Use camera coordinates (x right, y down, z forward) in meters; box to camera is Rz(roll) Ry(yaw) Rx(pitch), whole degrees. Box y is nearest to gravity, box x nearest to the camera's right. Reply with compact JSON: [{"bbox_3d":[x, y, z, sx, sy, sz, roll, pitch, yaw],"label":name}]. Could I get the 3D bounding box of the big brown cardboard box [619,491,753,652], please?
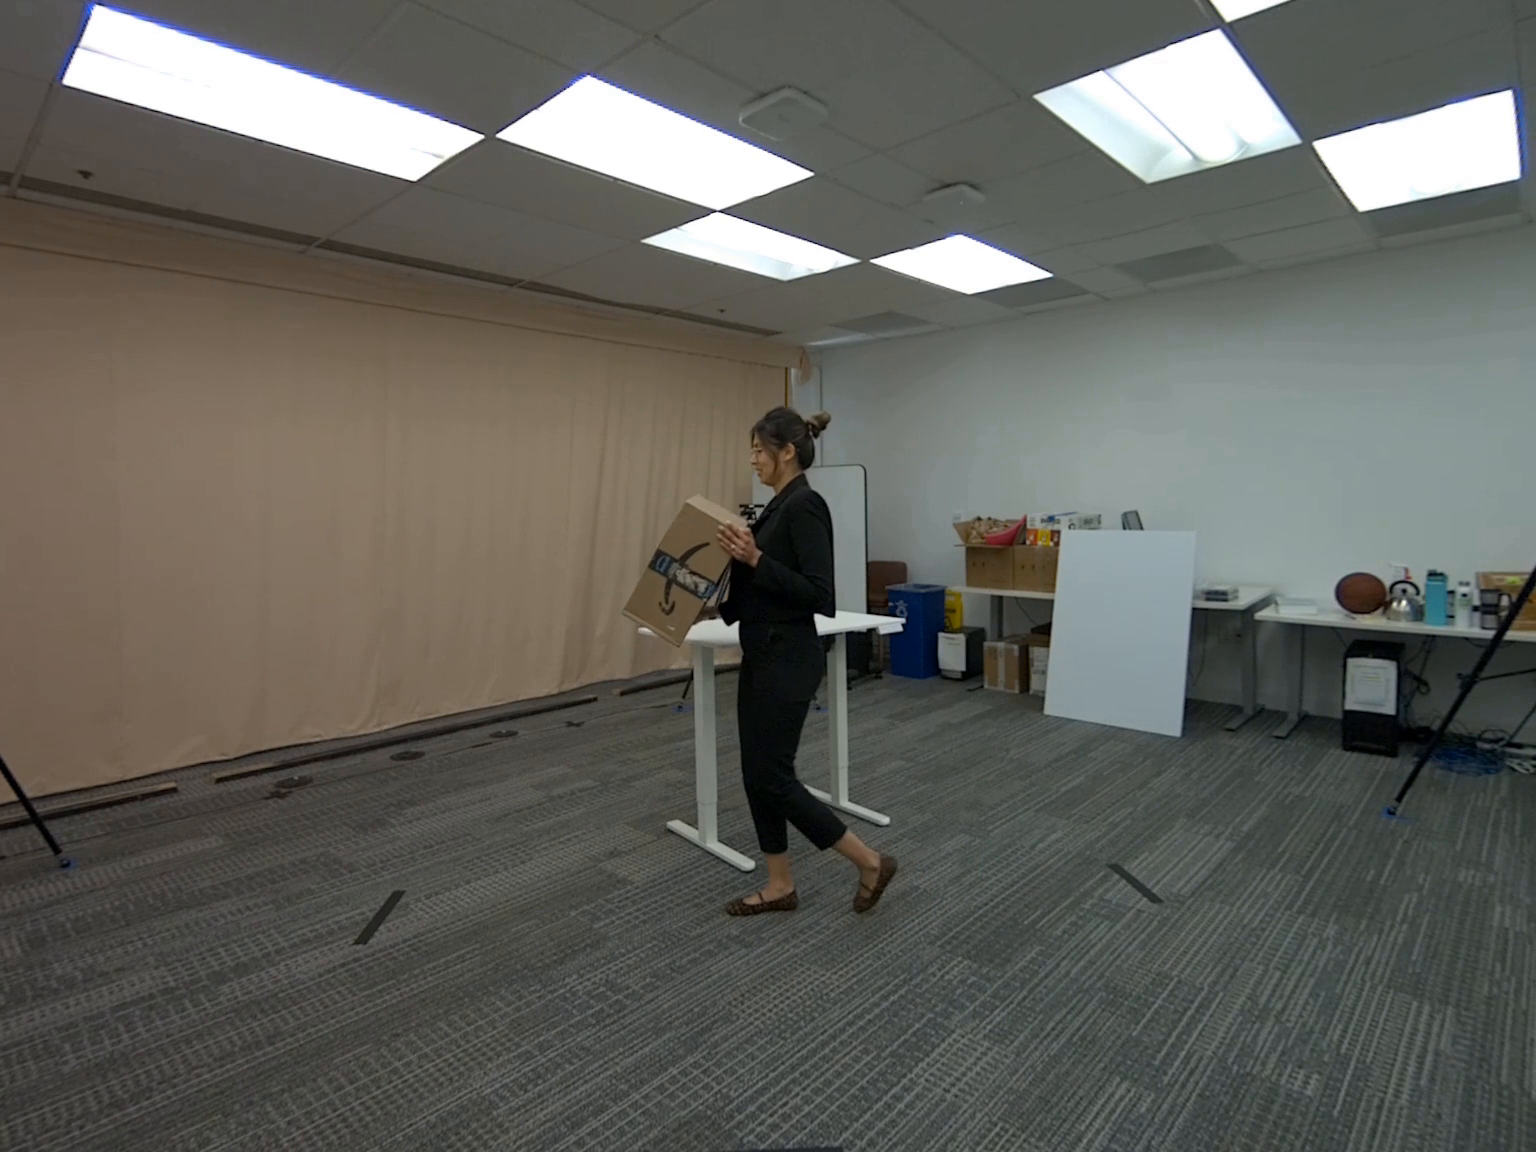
[{"bbox_3d":[-0.262,-0.043,2.914,0.232,0.417,0.591,30,6,-4],"label":"big brown cardboard box"}]
